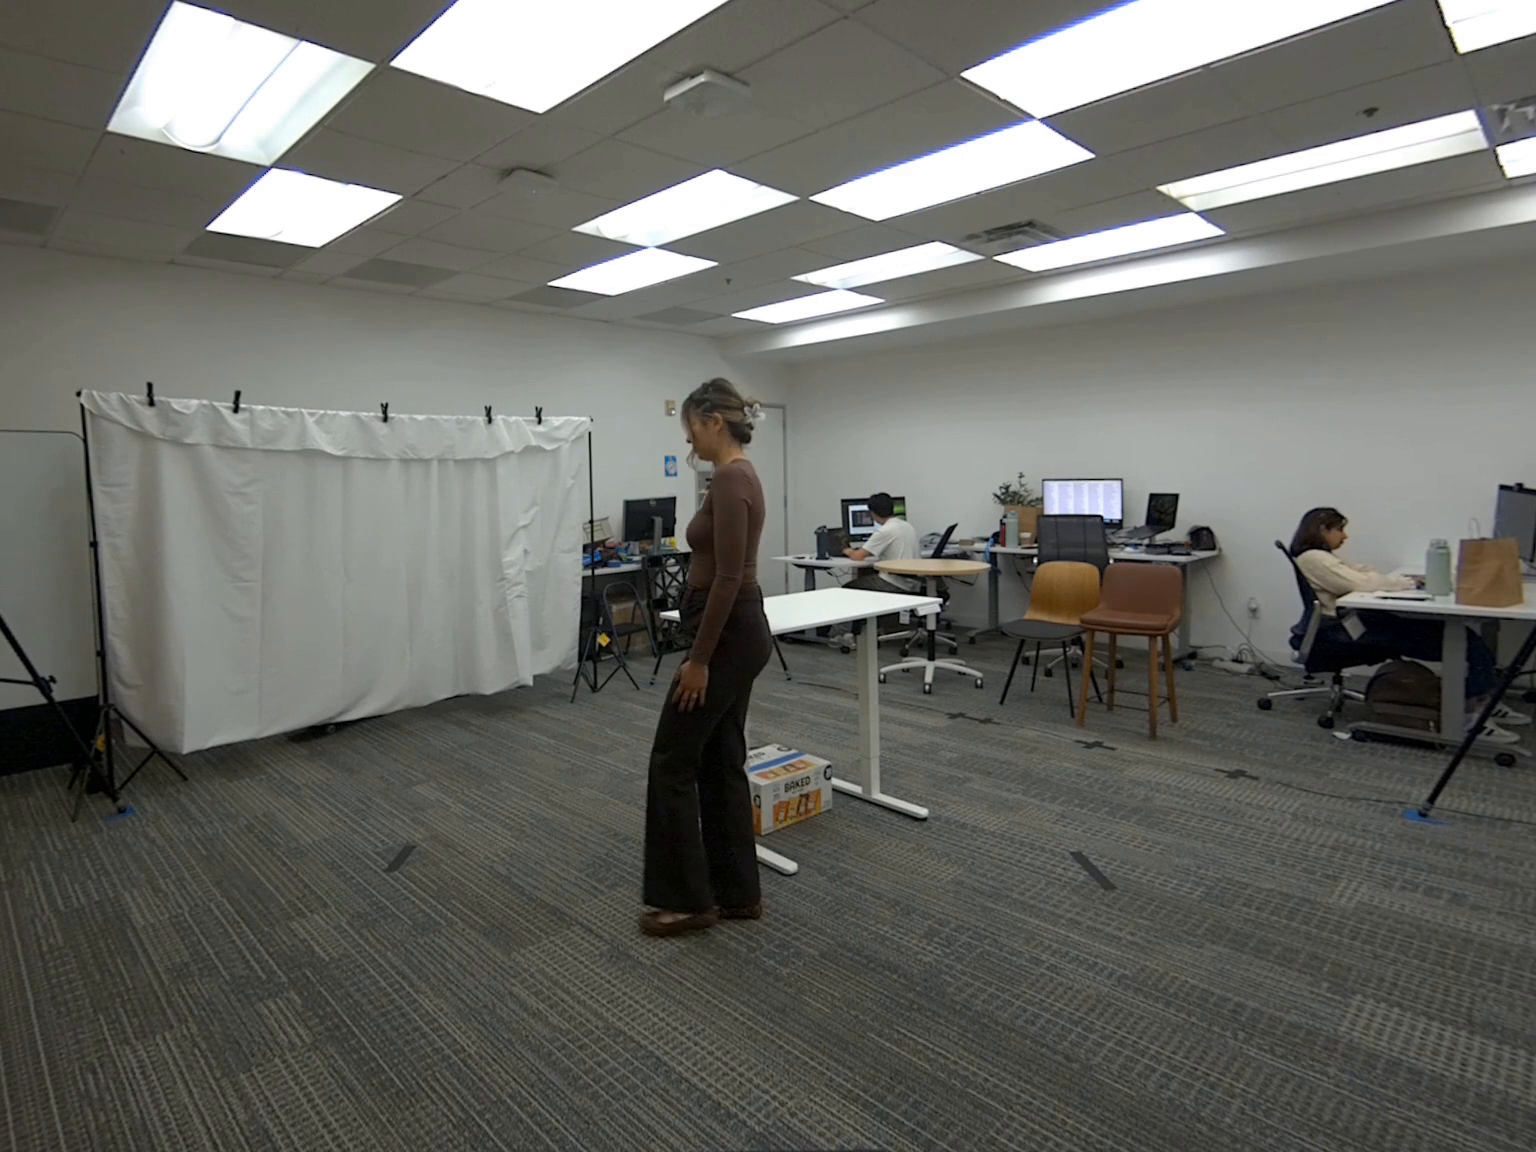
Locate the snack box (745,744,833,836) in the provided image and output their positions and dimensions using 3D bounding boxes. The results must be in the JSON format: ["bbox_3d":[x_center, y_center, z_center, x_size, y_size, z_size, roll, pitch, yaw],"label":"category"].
[{"bbox_3d":[0.008,0.886,3.588,0.394,0.205,0.351,-6,8,-41],"label":"snack box"}]
